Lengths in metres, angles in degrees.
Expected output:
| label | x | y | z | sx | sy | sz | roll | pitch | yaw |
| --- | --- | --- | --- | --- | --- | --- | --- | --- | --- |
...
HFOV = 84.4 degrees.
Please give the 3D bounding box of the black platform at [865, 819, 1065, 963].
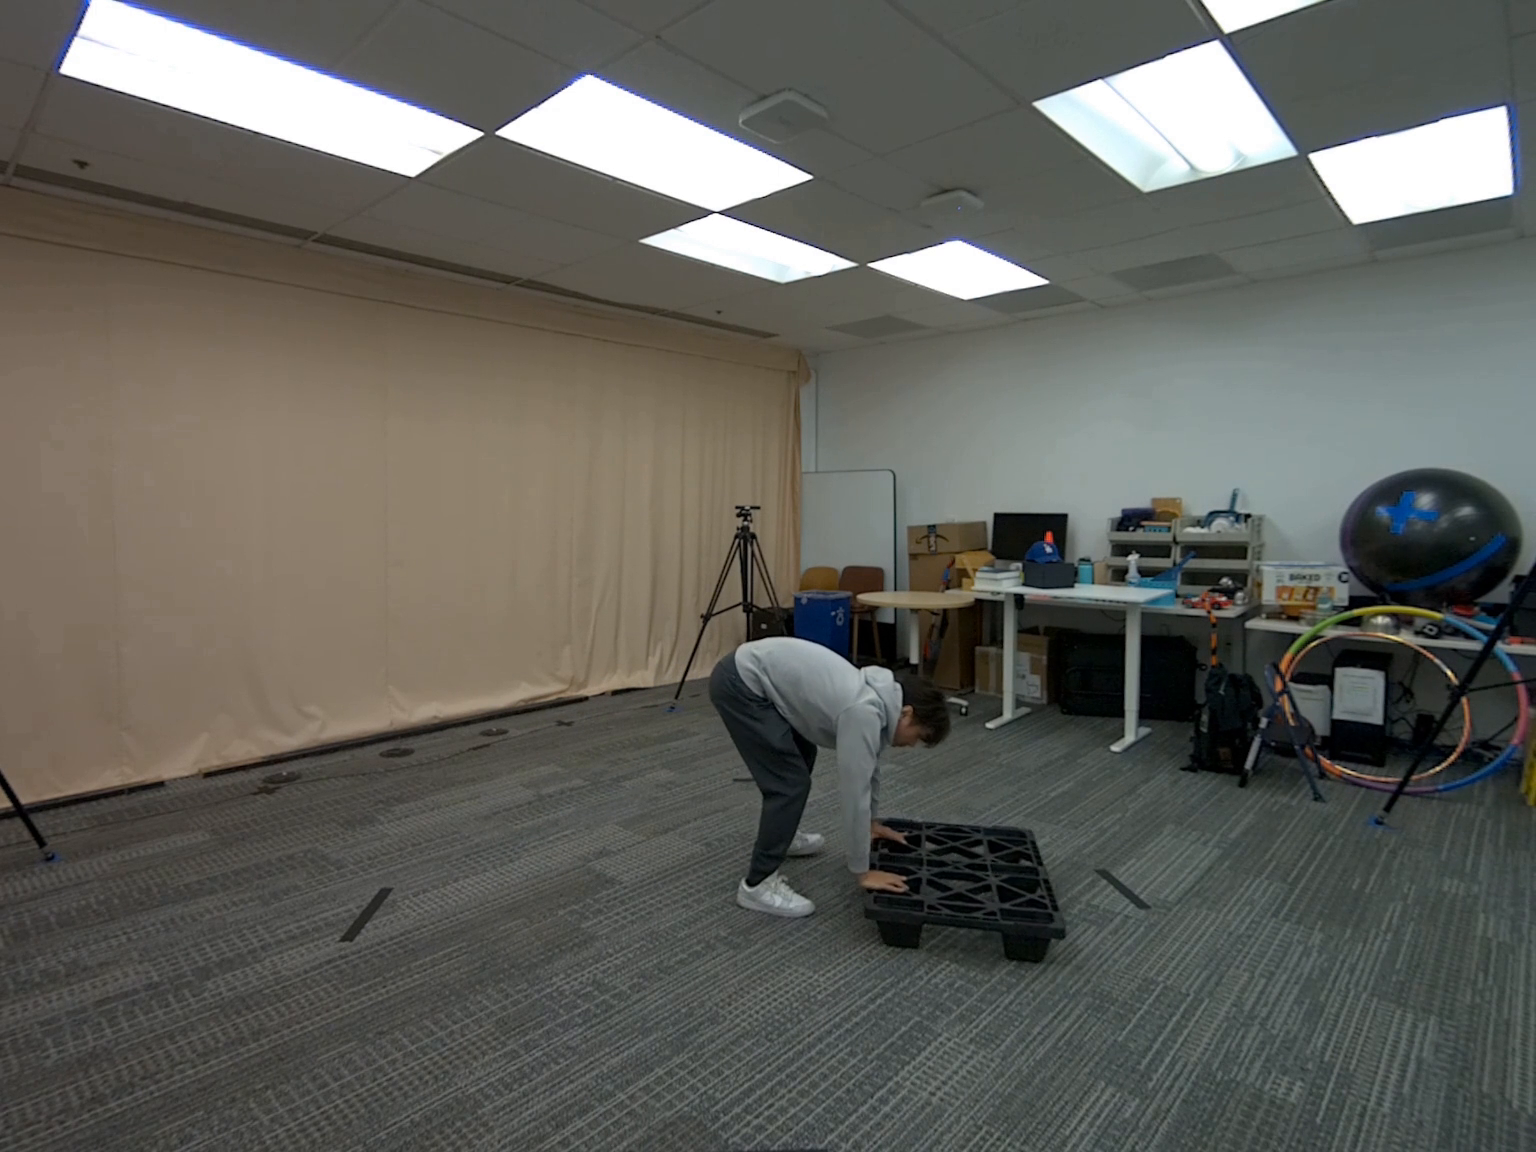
| label | x | y | z | sx | sy | sz | roll | pitch | yaw |
| --- | --- | --- | --- | --- | --- | --- | --- | --- | --- |
| black platform | 0.666 | 1.072 | 2.959 | 0.613 | 0.143 | 0.797 | 2 | 5 | 11 |
